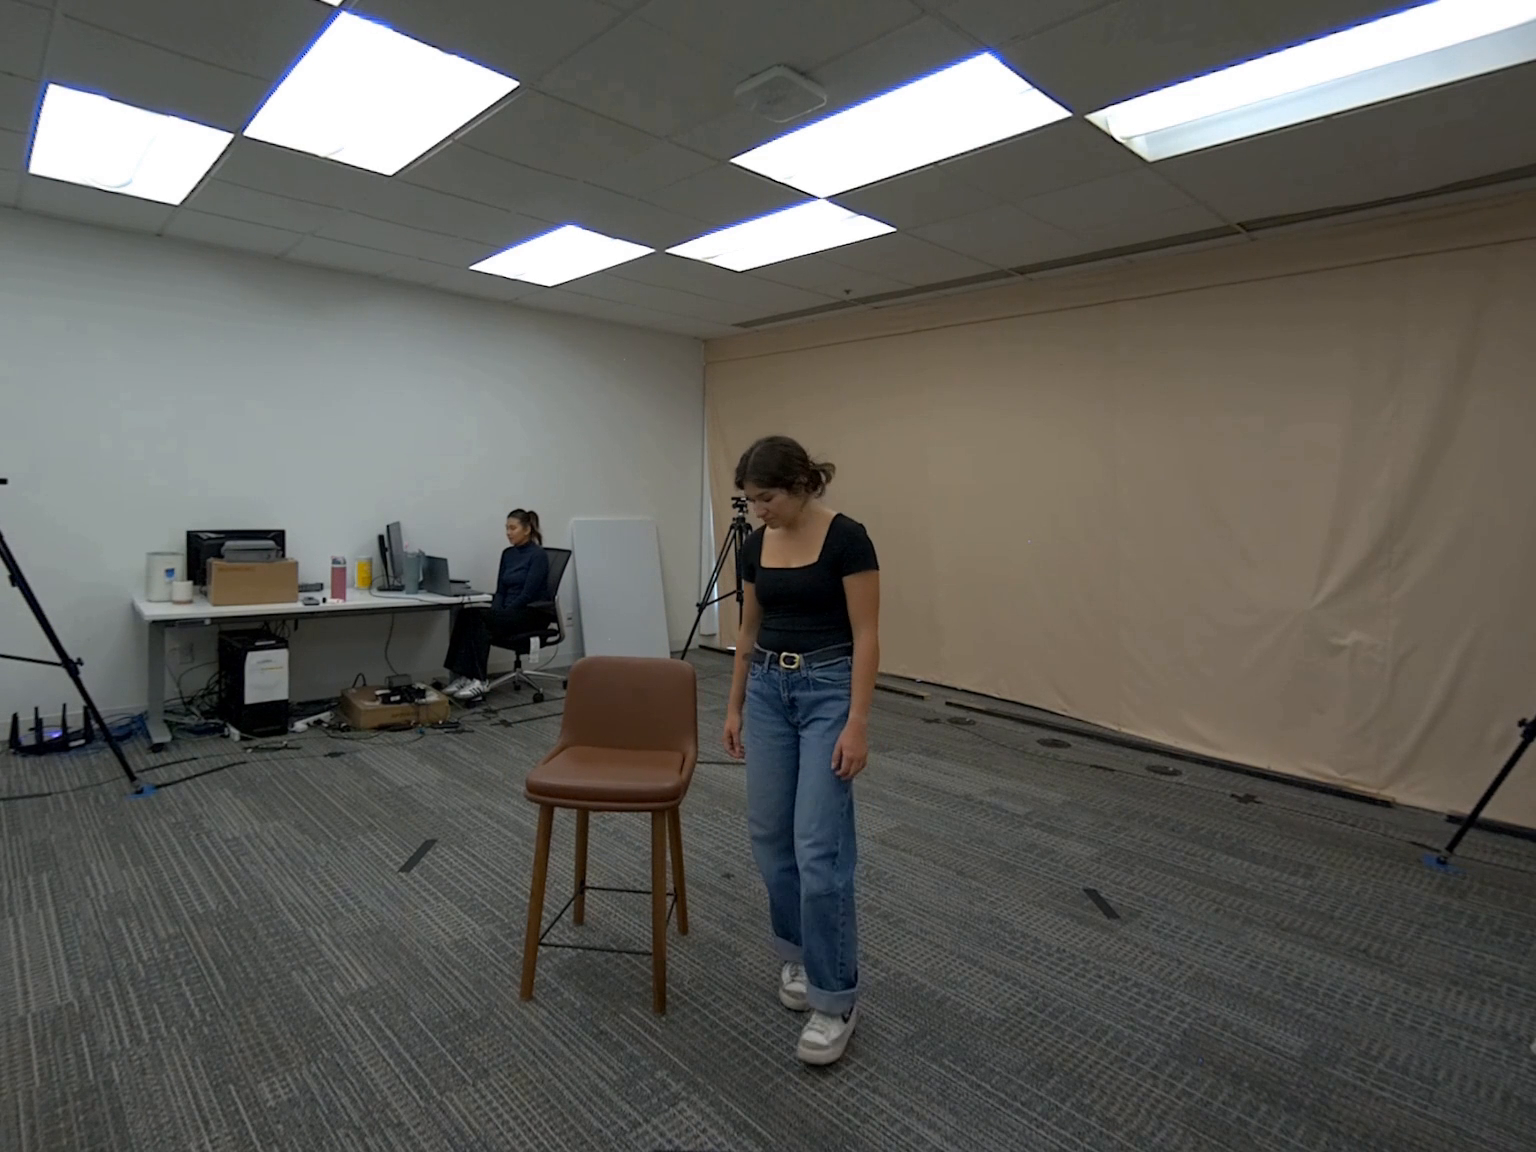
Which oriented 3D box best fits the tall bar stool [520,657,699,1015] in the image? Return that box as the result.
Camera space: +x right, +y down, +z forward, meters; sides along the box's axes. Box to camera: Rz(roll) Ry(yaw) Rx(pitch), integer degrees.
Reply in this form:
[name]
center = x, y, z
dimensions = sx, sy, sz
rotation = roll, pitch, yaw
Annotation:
[tall bar stool]
center = -0.461, 0.725, 2.486
dimensions = 0.460, 0.889, 0.465
rotation = 1, 1, 8
